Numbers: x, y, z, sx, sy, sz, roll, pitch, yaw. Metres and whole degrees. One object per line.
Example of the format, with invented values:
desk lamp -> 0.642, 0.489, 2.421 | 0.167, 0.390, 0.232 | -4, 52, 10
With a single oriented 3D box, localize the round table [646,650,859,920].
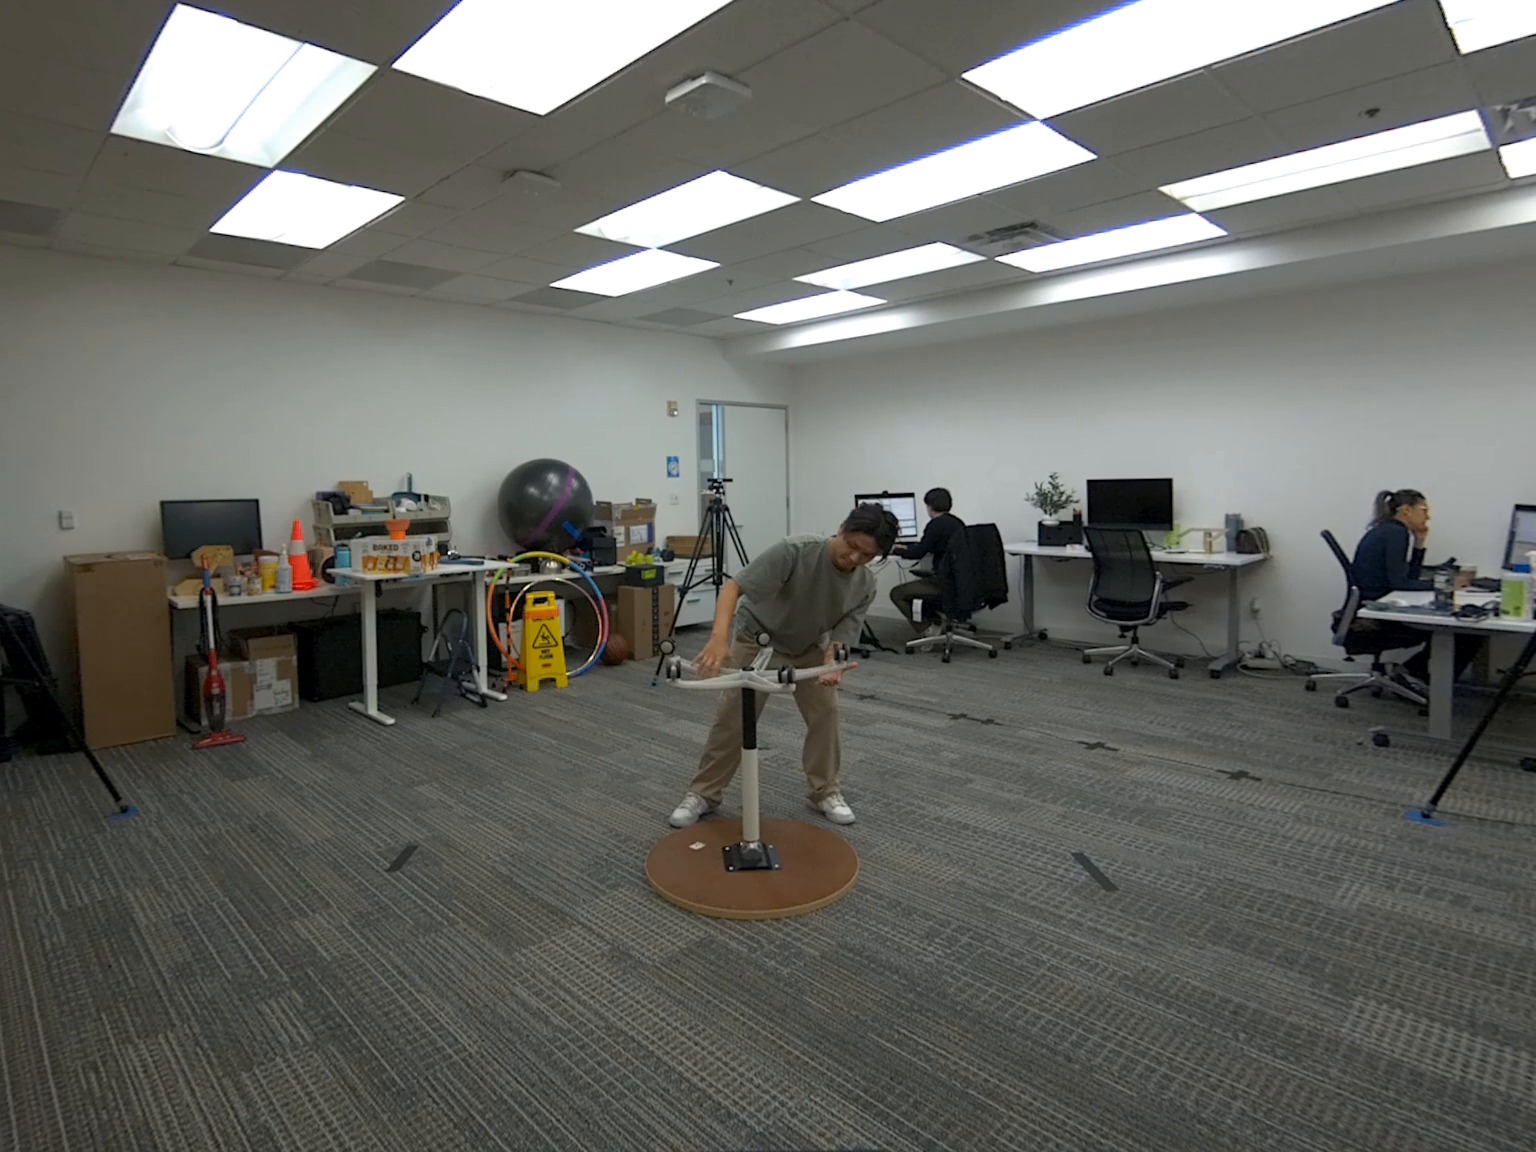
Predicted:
round table -> -0.079, 0.649, 3.061 | 0.784, 0.784, 0.789 | -1, 4, -2
